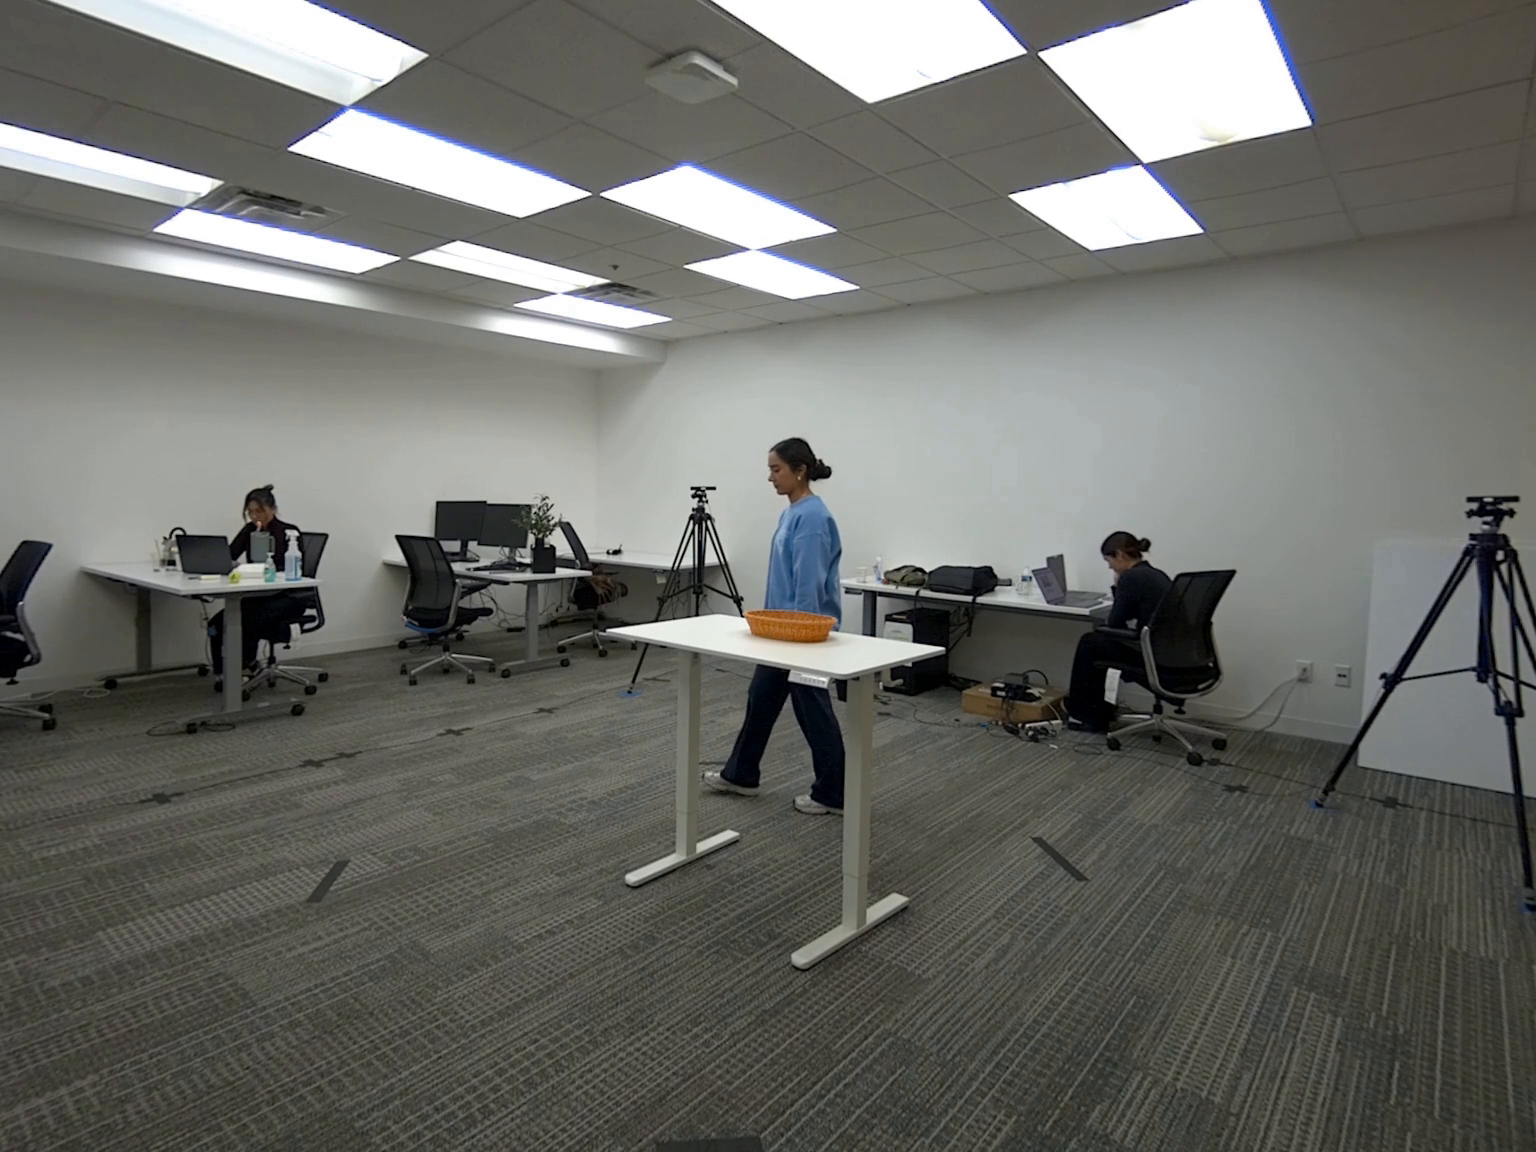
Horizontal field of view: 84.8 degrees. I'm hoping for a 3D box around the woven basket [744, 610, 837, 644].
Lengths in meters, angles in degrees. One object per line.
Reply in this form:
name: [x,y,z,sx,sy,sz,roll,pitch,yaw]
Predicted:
woven basket: [0.071,0.175,2.943,0.362,0.073,0.245,6,7,42]
